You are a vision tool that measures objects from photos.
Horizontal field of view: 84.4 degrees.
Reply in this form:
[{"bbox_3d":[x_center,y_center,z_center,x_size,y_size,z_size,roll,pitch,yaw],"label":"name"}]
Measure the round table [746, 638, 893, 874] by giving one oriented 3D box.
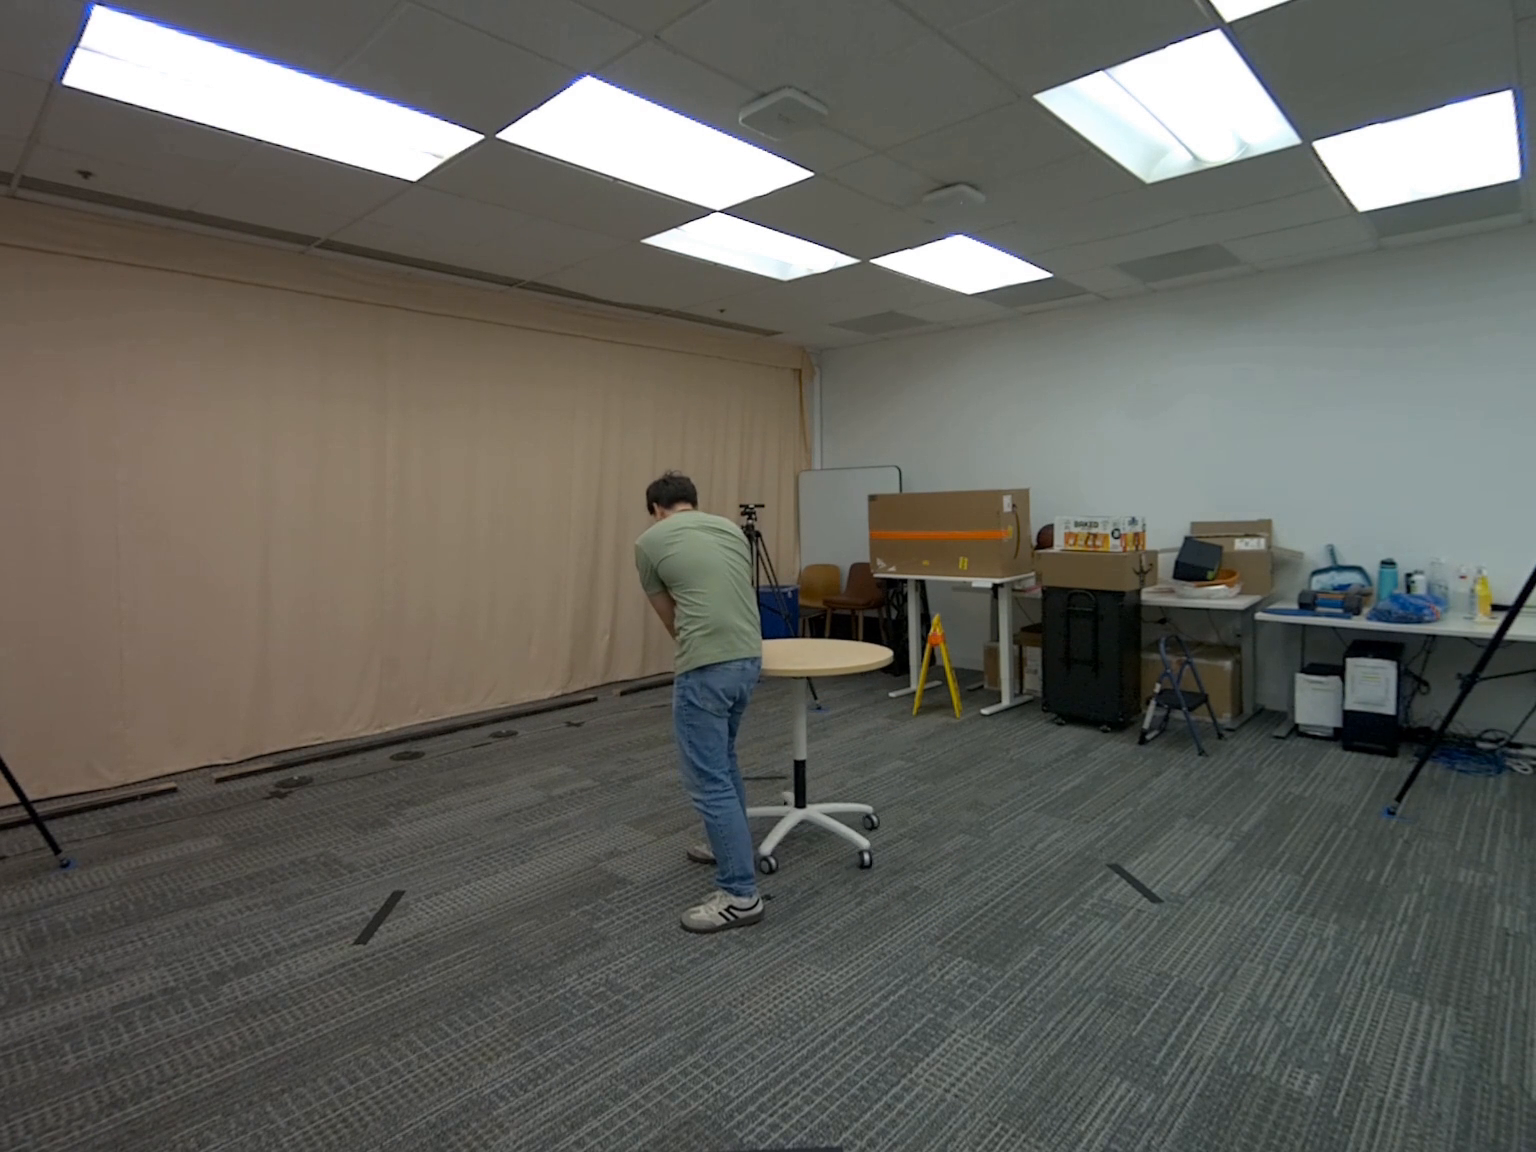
[{"bbox_3d":[0.127,0.706,3.465,0.763,0.793,0.766,-1,3,-2],"label":"round table"}]
